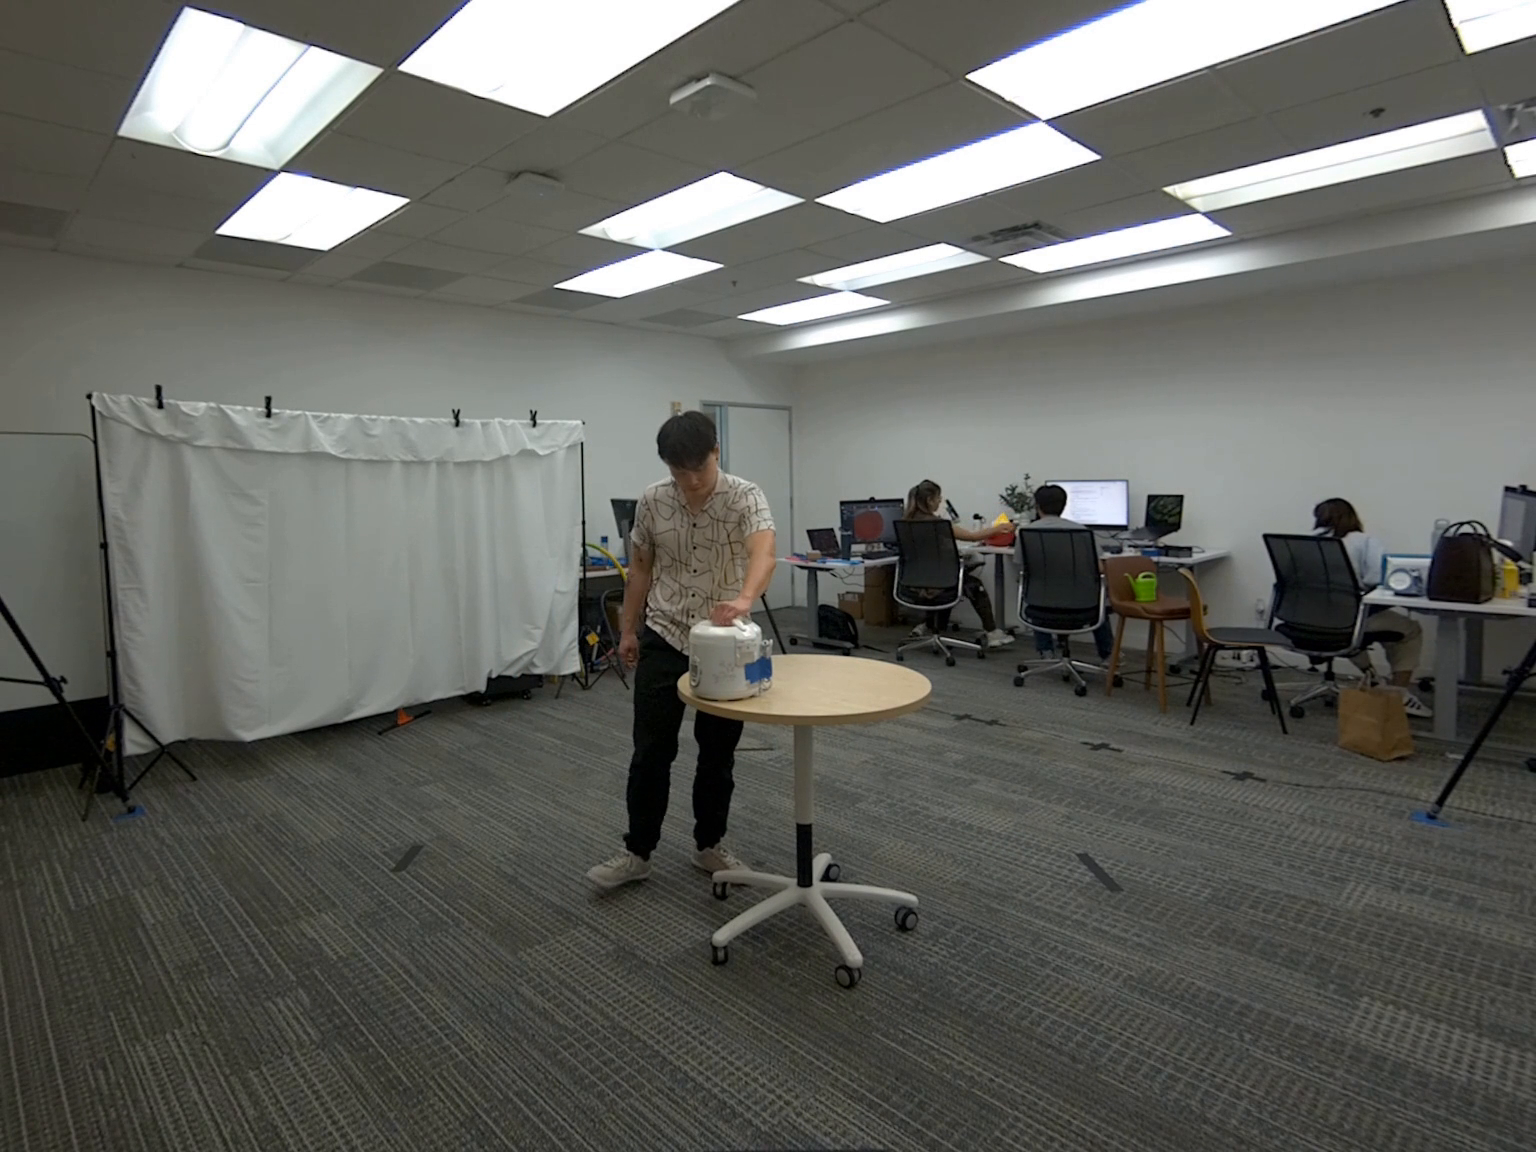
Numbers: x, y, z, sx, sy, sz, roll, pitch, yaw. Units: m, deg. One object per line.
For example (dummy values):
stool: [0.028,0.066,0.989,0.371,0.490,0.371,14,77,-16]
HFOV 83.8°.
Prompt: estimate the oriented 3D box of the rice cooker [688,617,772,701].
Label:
rice cooker: [-0.116,0.228,2.449,0.212,0.232,0.227,-3,5,-36]
